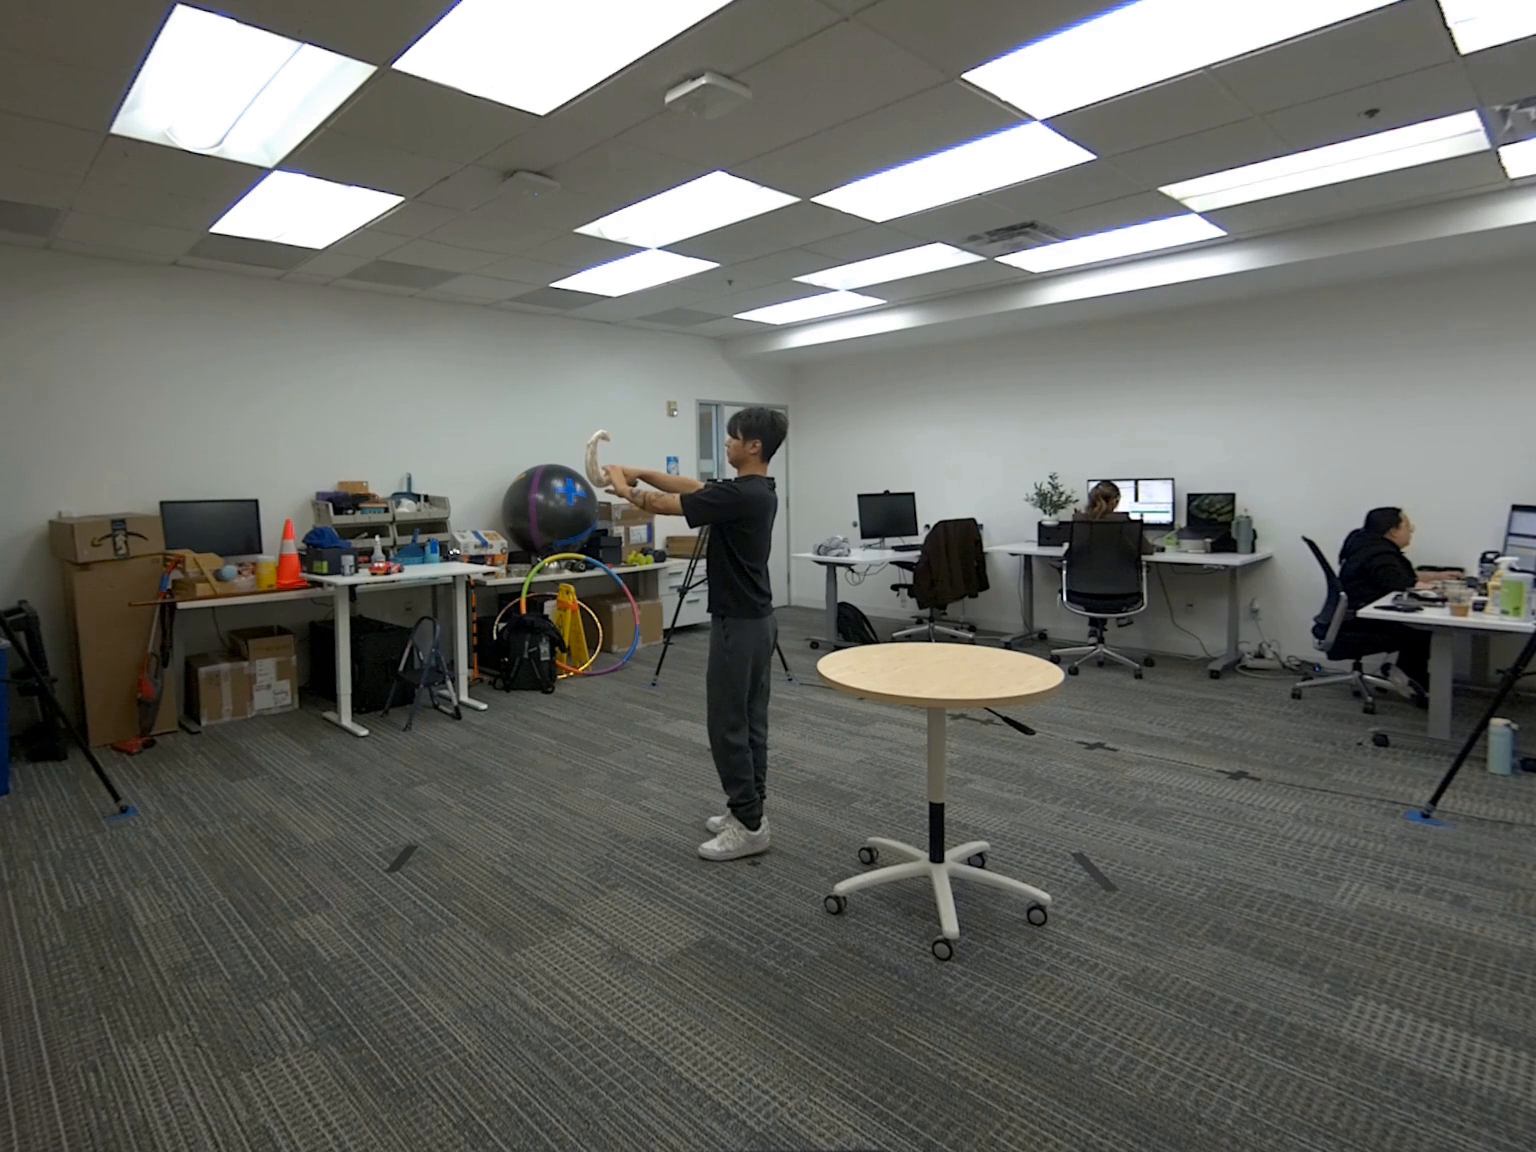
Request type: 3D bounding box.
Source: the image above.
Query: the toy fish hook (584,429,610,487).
[{"bbox_3d":[-0.622,-0.457,3.430,0.049,0.225,0.499,0,0,11],"label":"toy fish hook"}]
